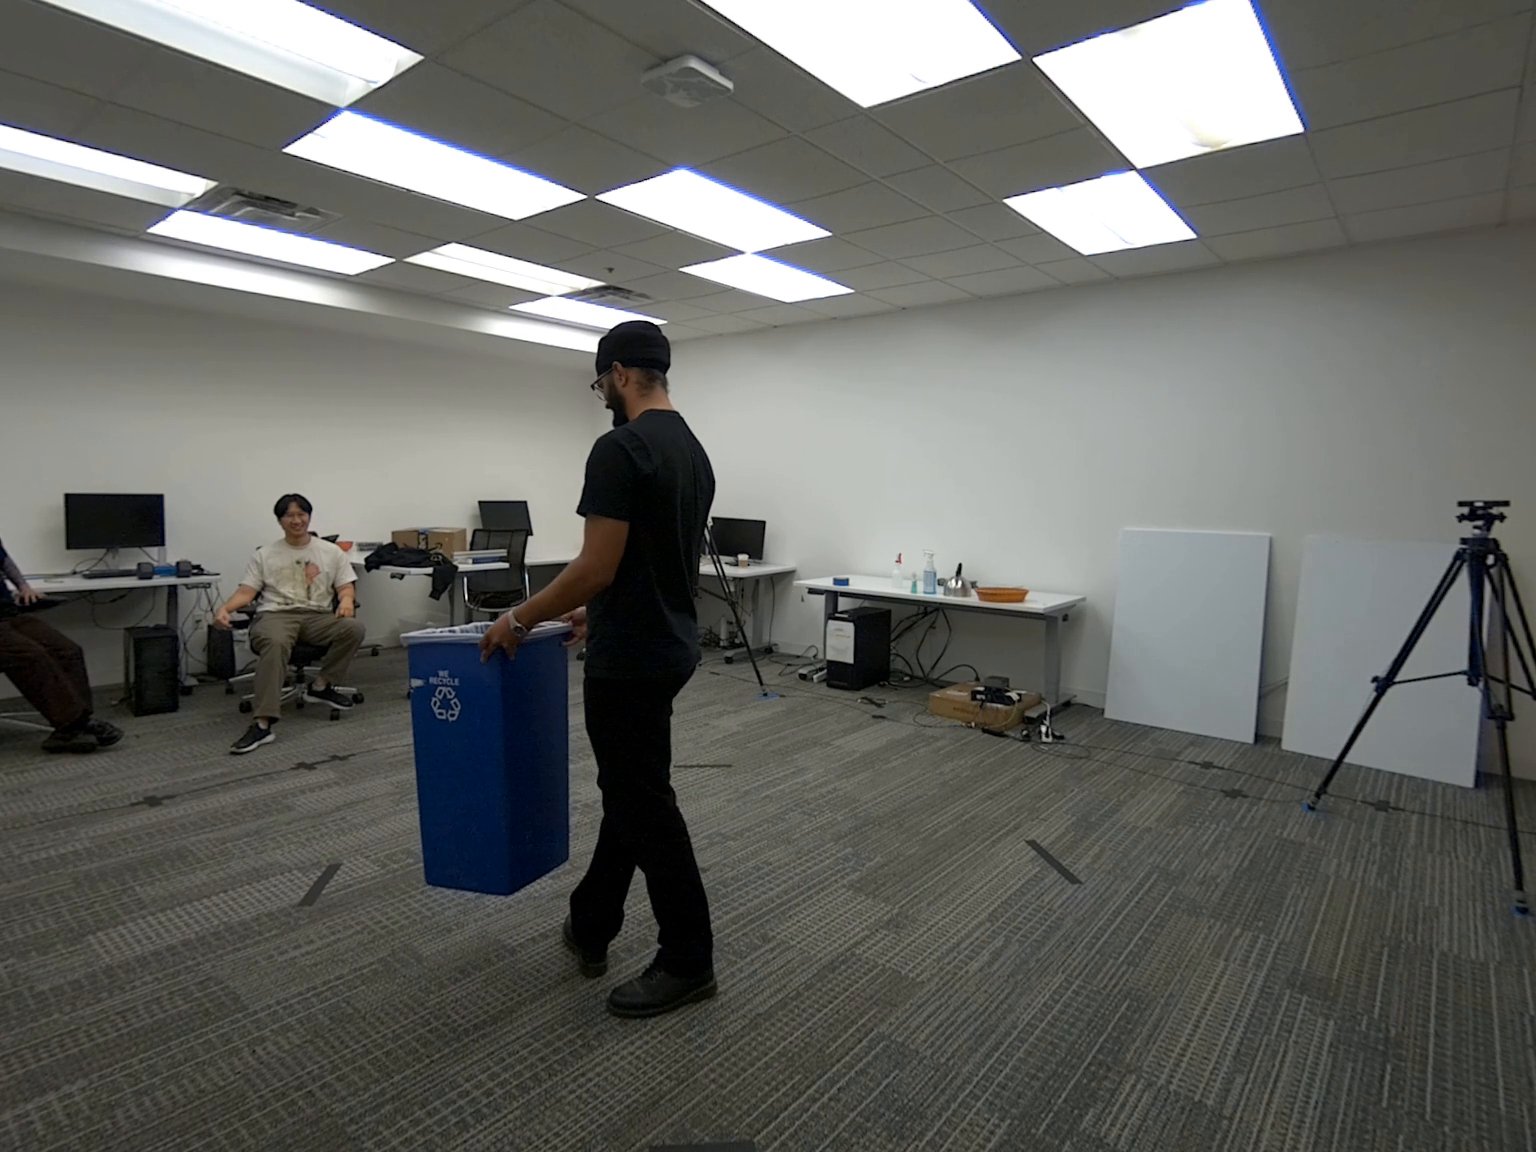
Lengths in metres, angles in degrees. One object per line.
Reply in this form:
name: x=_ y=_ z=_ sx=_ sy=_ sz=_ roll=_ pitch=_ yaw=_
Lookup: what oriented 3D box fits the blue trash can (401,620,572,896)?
blue trash can: x=-0.809 y=0.511 z=2.502 sx=0.382 sy=0.715 sz=0.369 roll=-4 pitch=-2 yaw=22
